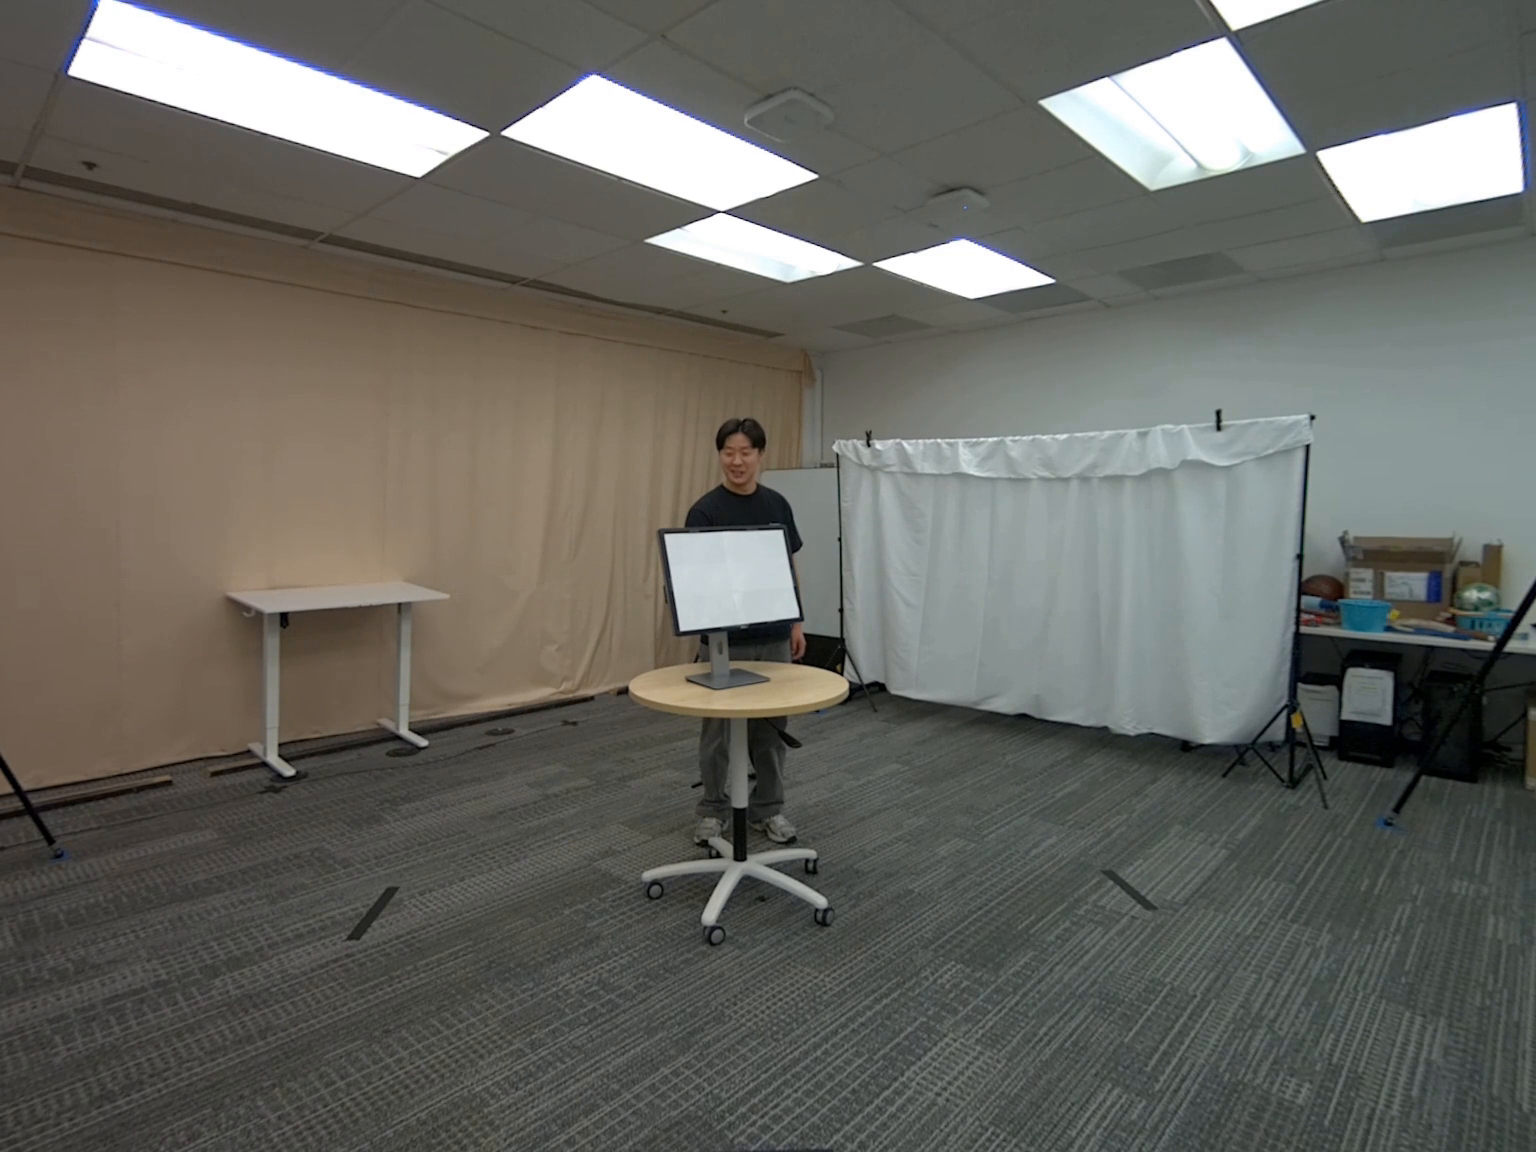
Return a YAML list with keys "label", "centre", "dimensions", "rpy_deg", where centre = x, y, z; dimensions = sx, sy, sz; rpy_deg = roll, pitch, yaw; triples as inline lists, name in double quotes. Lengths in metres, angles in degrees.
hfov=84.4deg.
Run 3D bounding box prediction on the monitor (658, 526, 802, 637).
- label: "monitor"
  centre: [-0.137, 0.110, 2.958]
  dimensions: [0.546, 0.564, 0.229]
  rpy_deg: [-4, 6, -35]
